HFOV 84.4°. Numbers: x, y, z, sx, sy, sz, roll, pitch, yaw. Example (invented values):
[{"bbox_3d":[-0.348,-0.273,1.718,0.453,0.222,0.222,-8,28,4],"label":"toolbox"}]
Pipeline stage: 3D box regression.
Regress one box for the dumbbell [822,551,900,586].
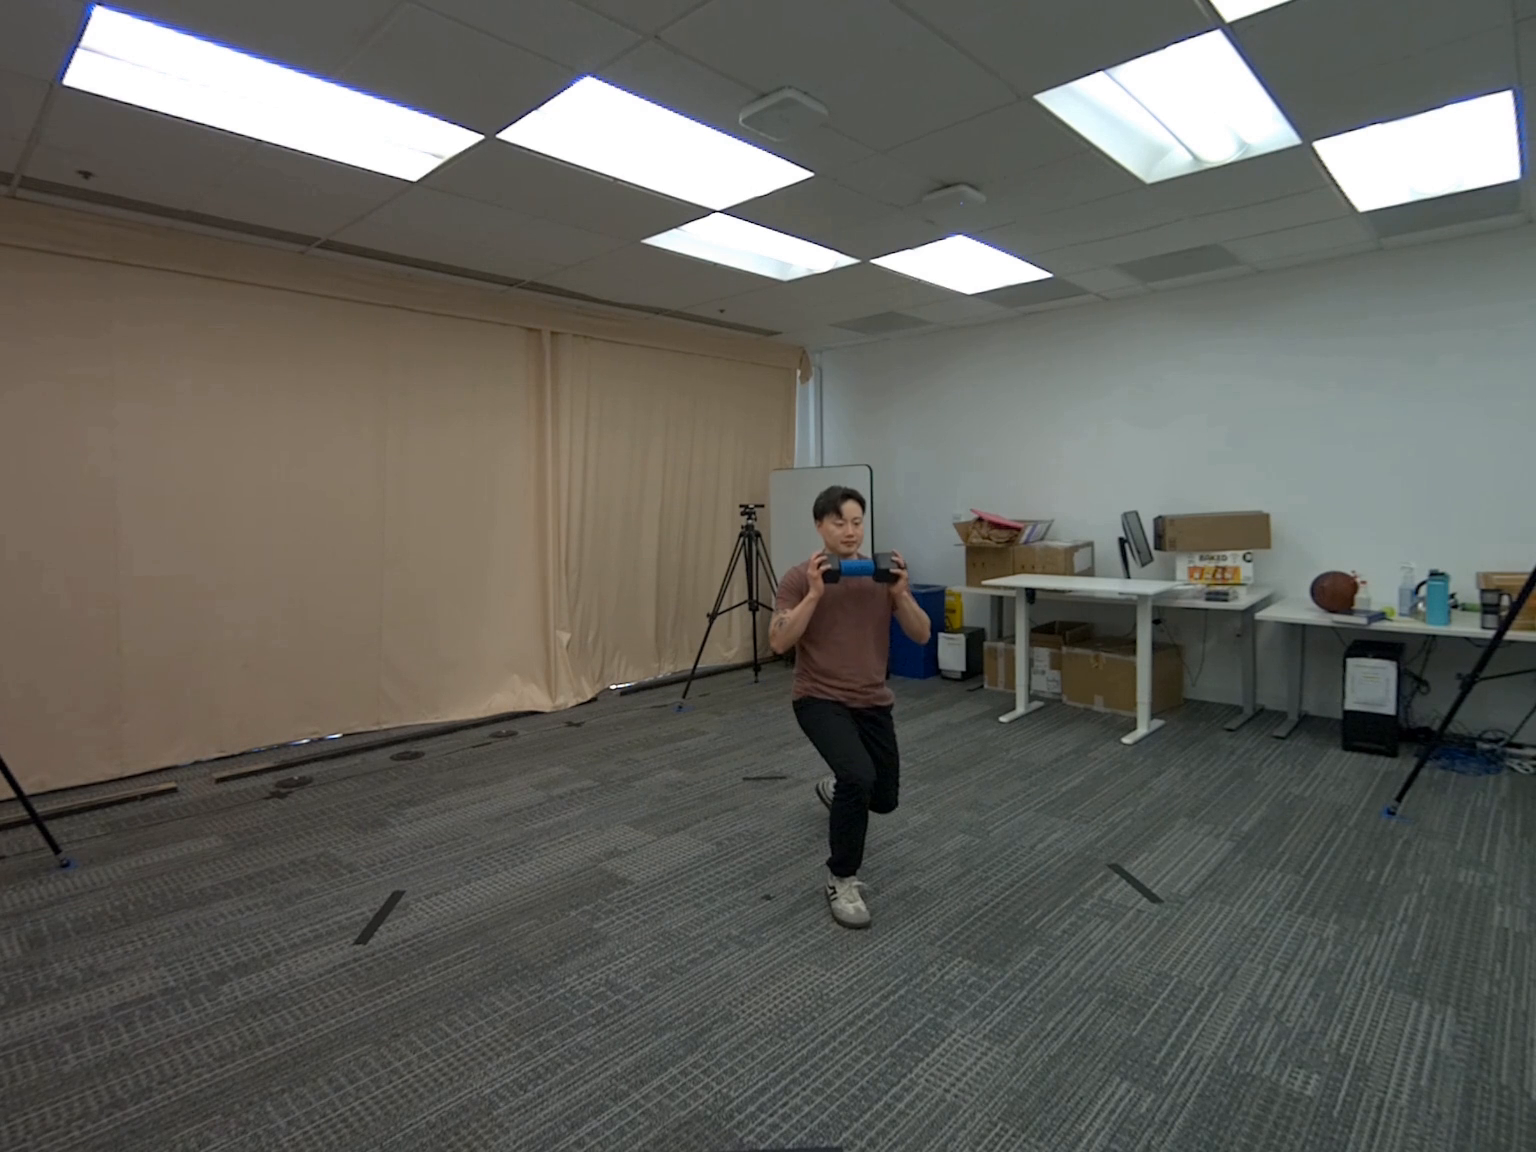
[{"bbox_3d":[0.327,-0.019,3.081,0.294,0.109,0.122,1,-3,0],"label":"dumbbell"}]
